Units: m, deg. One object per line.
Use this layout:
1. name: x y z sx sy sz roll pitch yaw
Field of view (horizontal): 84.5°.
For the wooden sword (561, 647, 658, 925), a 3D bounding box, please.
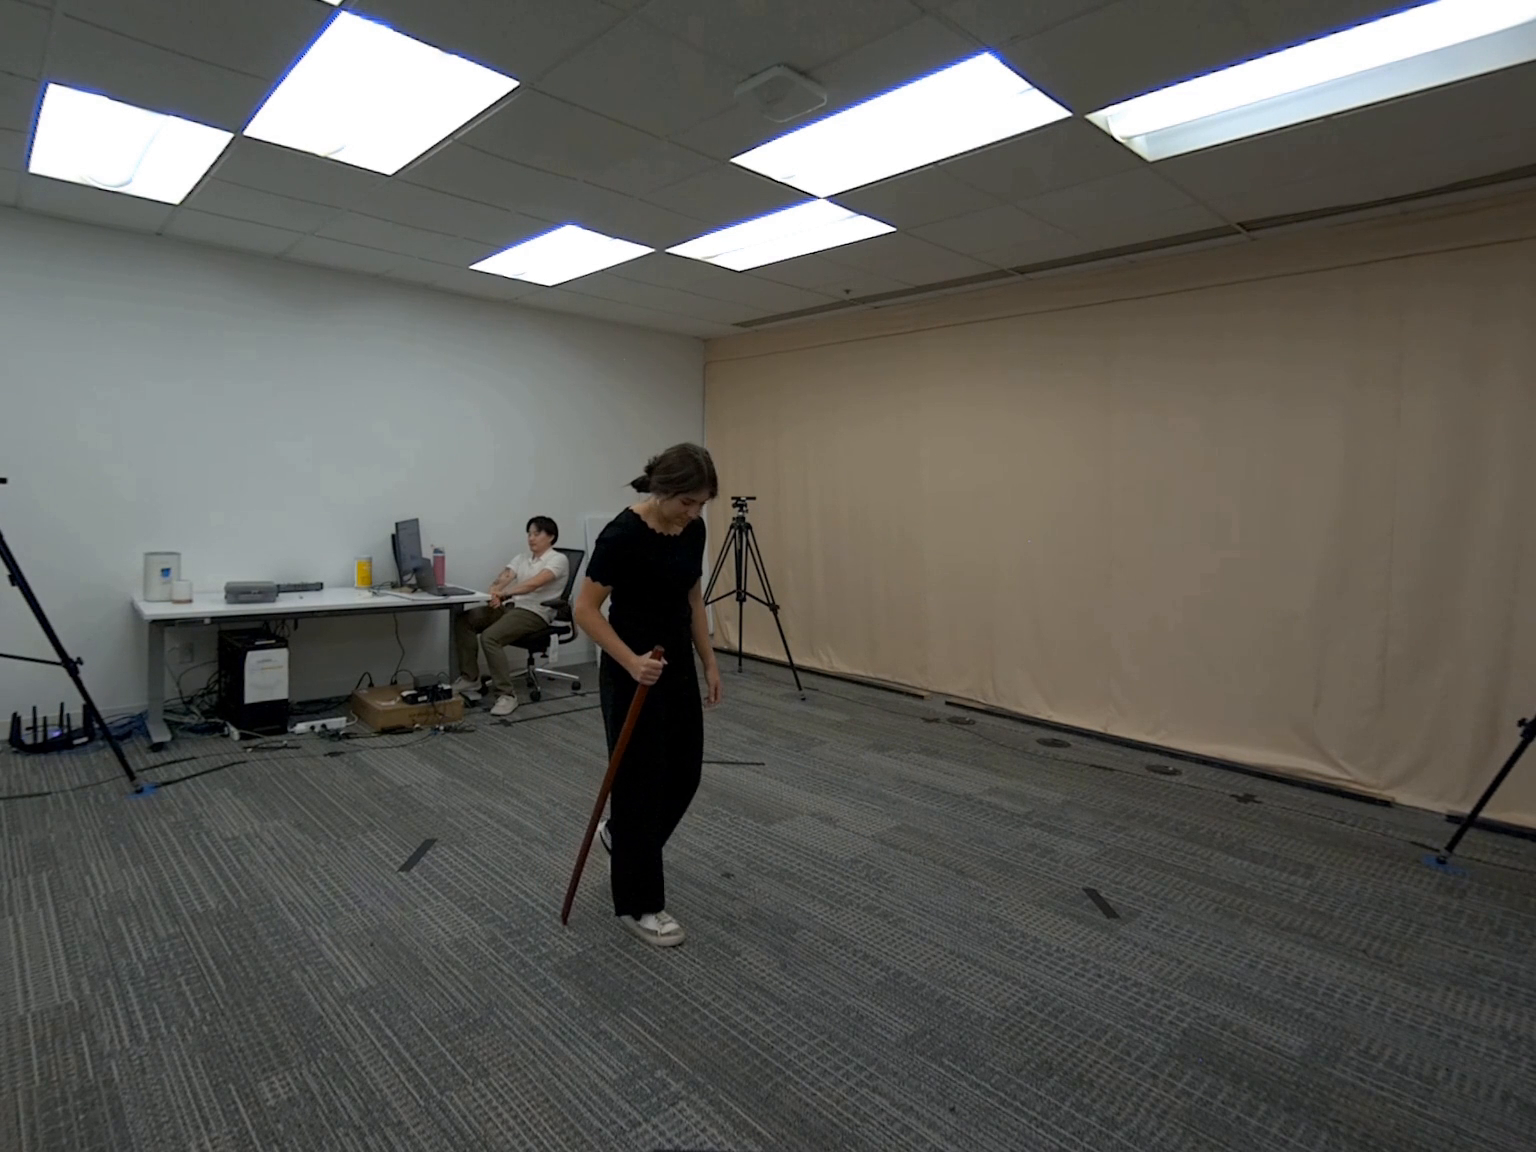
1. wooden sword: -0.524 0.669 2.598 0.052 1.017 0.024 23 17 15
